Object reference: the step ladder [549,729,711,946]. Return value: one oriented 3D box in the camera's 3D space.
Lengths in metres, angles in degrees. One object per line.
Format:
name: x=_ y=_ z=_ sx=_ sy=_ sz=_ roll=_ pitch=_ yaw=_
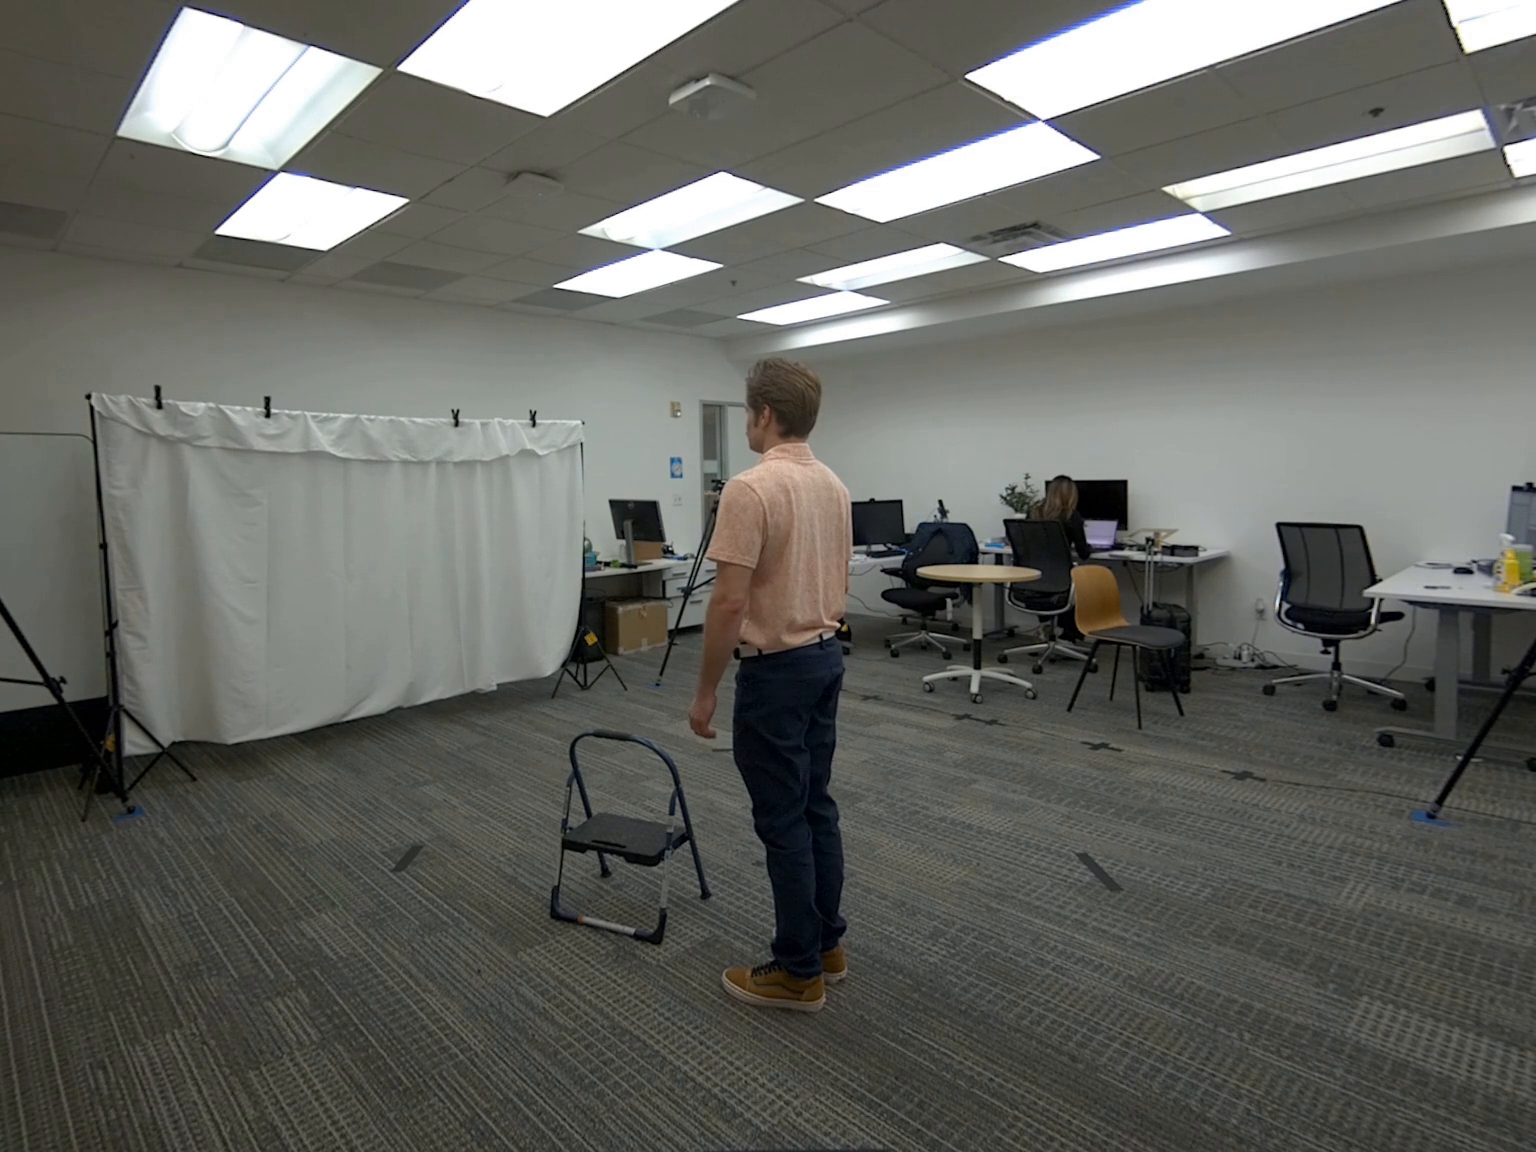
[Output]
step ladder: x=-0.455 y=0.789 z=2.797 sx=0.440 sy=0.604 sz=0.343 roll=1 pitch=4 yaw=23
